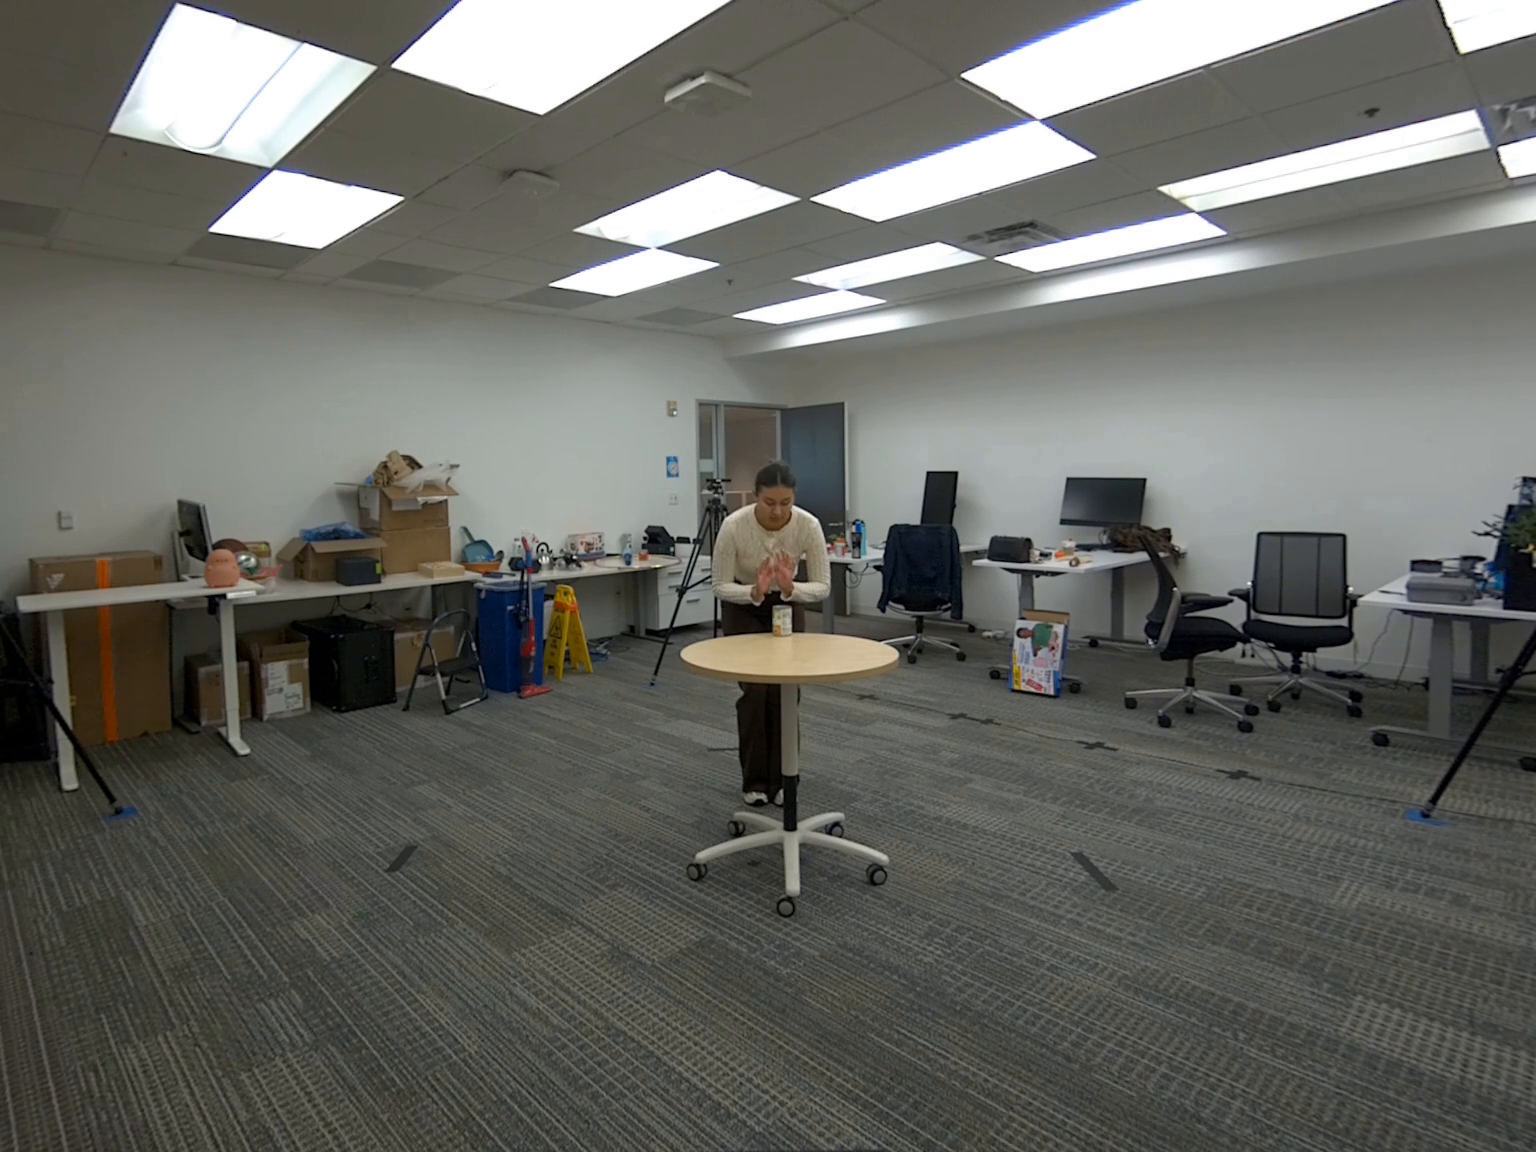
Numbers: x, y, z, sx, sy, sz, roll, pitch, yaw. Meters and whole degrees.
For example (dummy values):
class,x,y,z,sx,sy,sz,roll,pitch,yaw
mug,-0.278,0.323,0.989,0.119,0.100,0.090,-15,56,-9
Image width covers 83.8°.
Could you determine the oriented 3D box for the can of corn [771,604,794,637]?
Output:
class,x,y,z,sx,sy,sz,roll,pitch,yaw
can of corn,0.047,0.181,3.355,0.074,0.111,0.074,0,3,-2
